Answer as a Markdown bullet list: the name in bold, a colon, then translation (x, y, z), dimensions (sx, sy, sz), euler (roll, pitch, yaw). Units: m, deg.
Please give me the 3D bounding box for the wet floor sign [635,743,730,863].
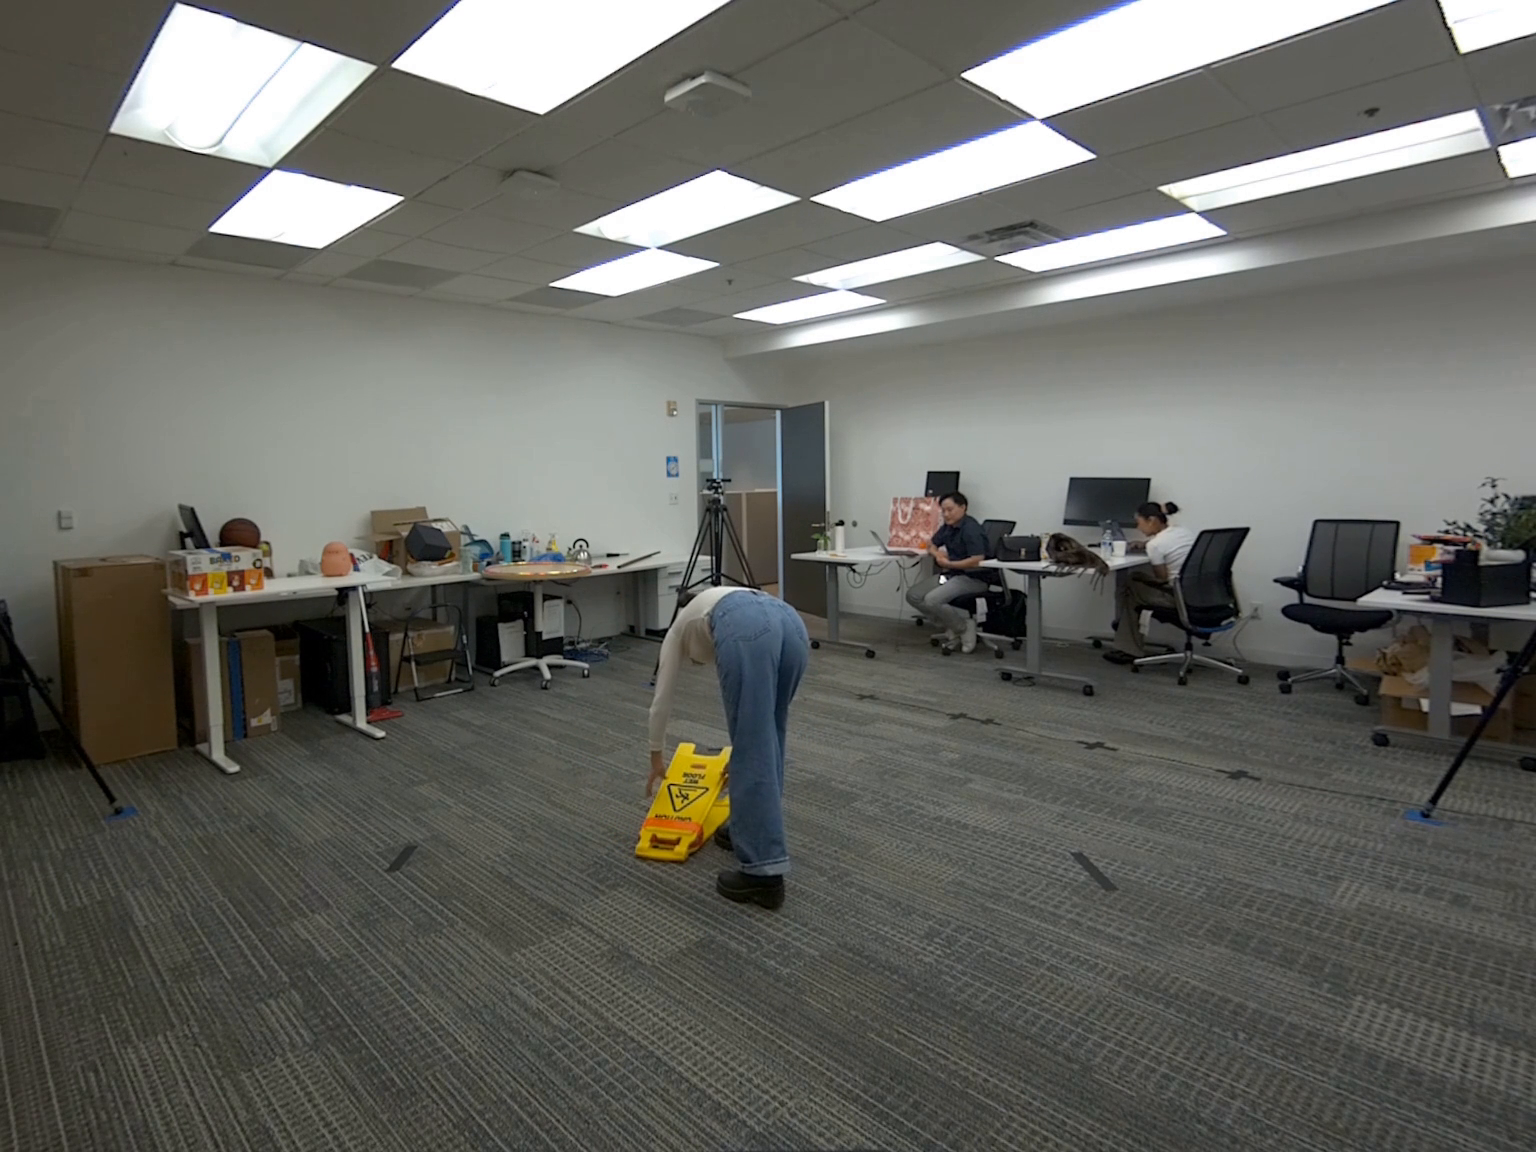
- **wet floor sign**: translation (-0.326, 0.937, 3.434), dimensions (0.287, 0.286, 0.644), euler (0, 14, 15)
